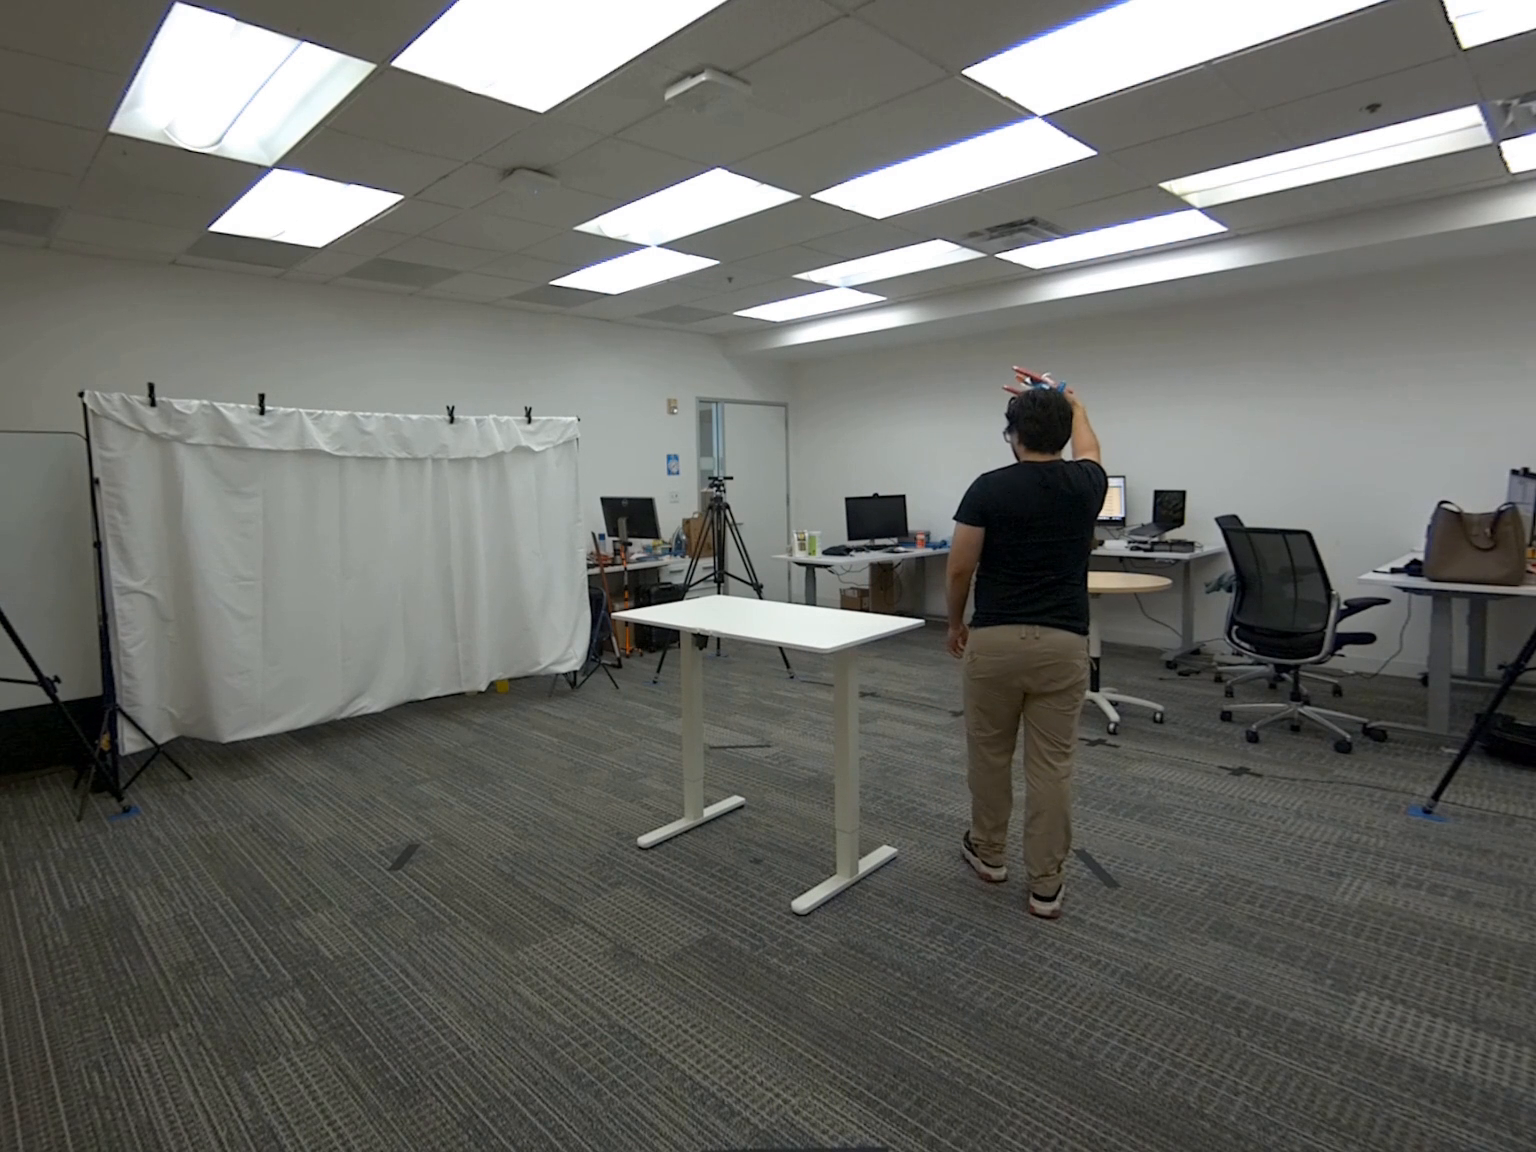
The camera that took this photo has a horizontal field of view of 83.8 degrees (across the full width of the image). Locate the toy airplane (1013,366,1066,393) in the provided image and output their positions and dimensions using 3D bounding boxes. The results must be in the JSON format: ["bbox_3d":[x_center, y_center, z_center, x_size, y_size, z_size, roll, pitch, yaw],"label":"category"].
[{"bbox_3d":[1.052,-0.684,3.229,0.242,0.156,0.269,13,10,-43],"label":"toy airplane"}]
